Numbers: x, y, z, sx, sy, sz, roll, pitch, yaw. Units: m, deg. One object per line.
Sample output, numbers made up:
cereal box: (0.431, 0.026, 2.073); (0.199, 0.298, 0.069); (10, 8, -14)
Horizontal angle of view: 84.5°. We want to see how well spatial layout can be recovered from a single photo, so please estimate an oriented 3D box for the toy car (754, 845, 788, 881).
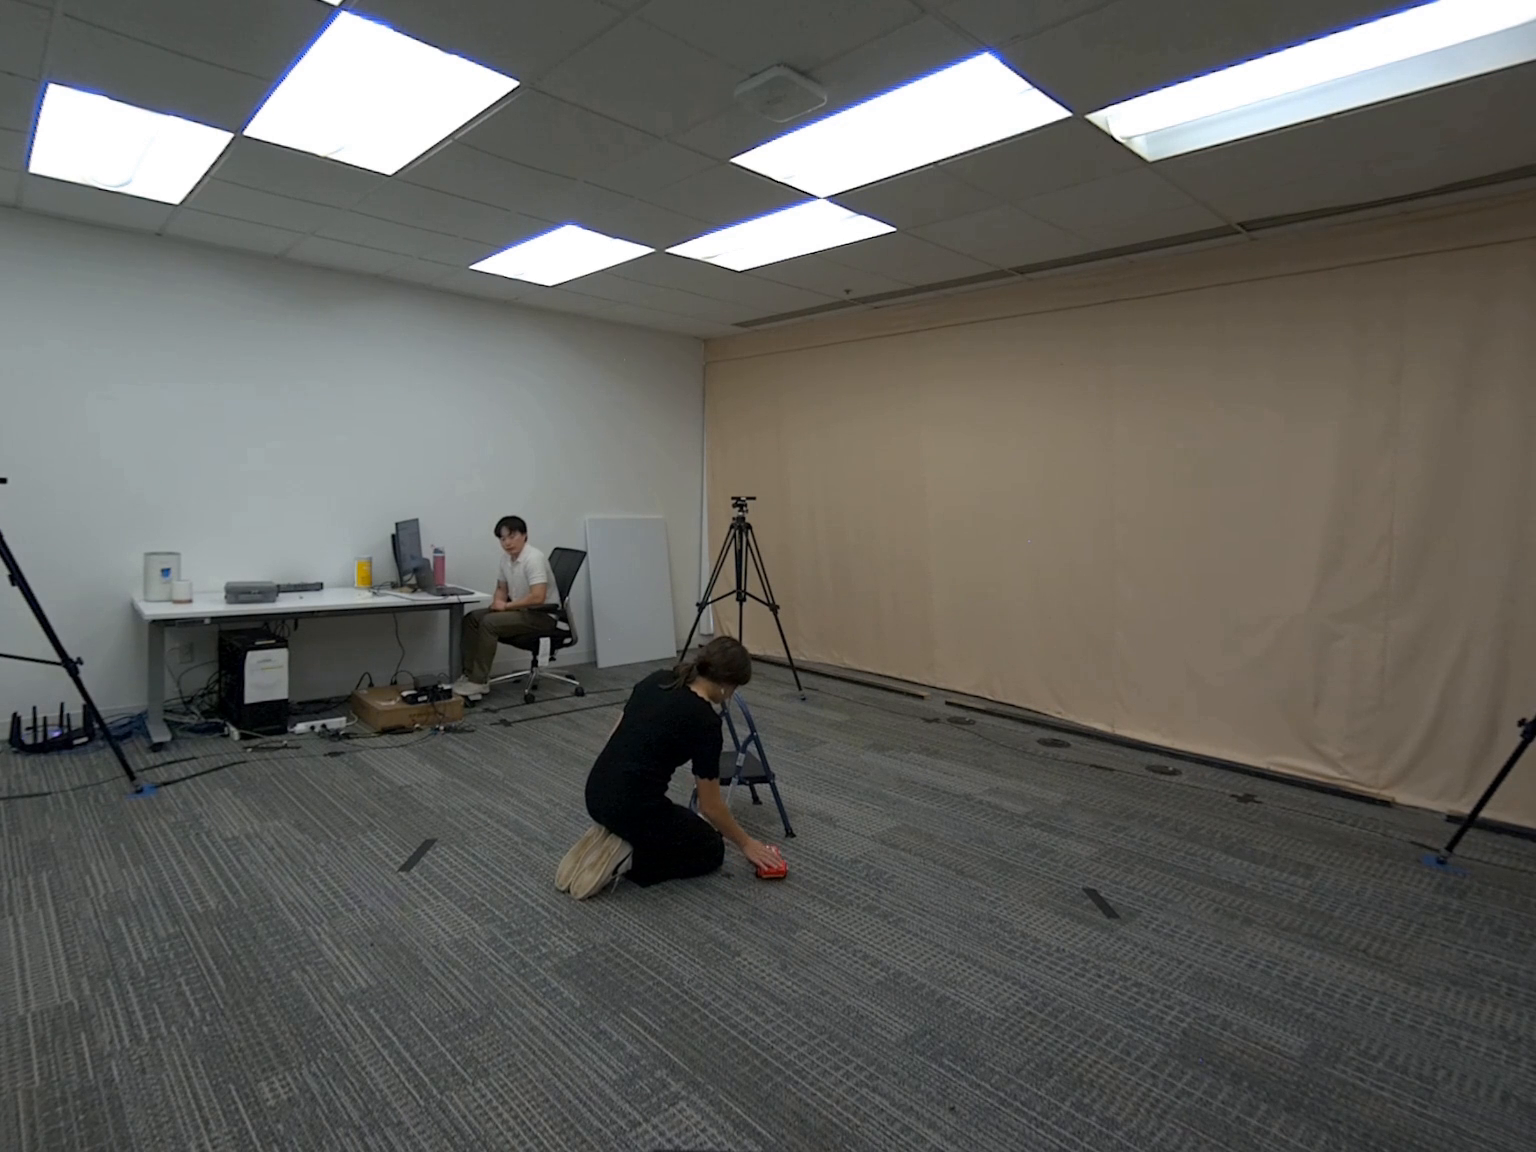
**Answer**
toy car: (-0.016, 1.081, 3.159); (0.130, 0.083, 0.255); (2, -2, -7)
